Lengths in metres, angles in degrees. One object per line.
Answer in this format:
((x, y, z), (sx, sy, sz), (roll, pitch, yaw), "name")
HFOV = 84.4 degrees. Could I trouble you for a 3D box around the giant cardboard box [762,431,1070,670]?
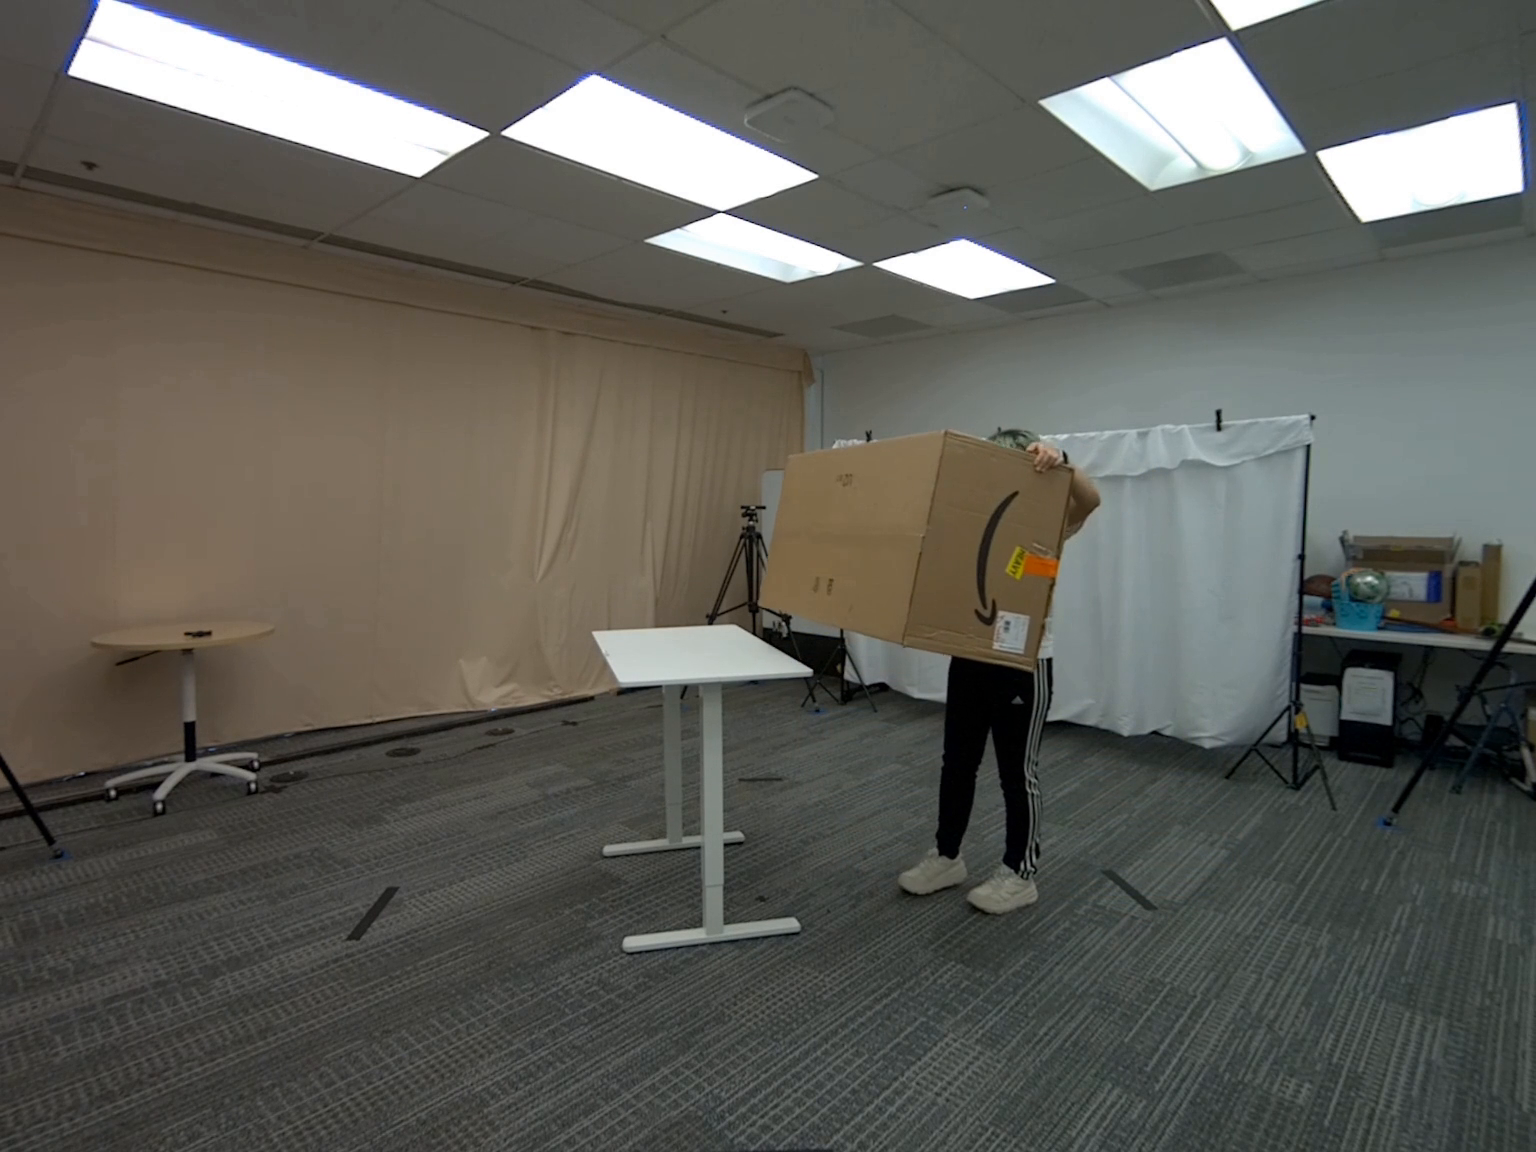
((0.415, -0.089, 2.708), (0.436, 0.584, 1.051), (12, -1, -23), "giant cardboard box")
